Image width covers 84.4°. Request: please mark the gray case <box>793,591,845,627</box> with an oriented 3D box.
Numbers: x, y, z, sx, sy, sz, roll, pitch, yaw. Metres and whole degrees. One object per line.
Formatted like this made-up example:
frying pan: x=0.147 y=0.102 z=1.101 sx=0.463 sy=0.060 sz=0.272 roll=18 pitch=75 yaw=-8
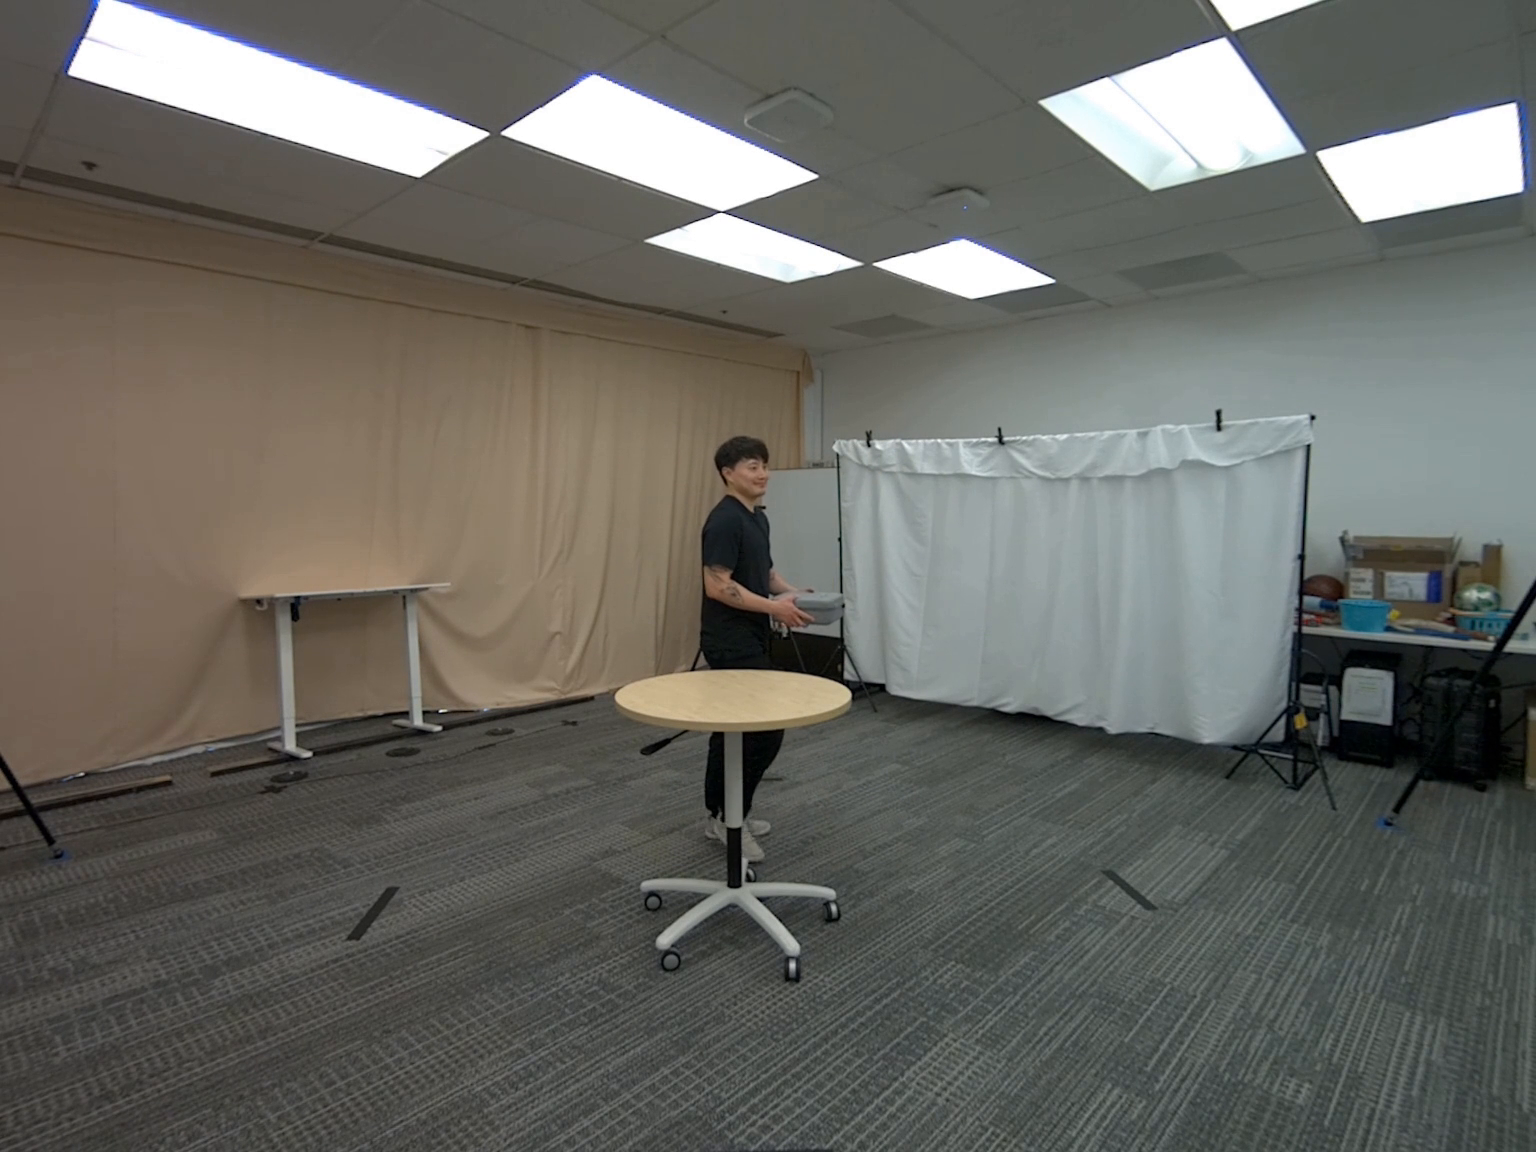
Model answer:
gray case: x=0.163 y=0.132 z=3.433 sx=0.266 sy=0.104 sz=0.253 roll=0 pitch=8 yaw=19
